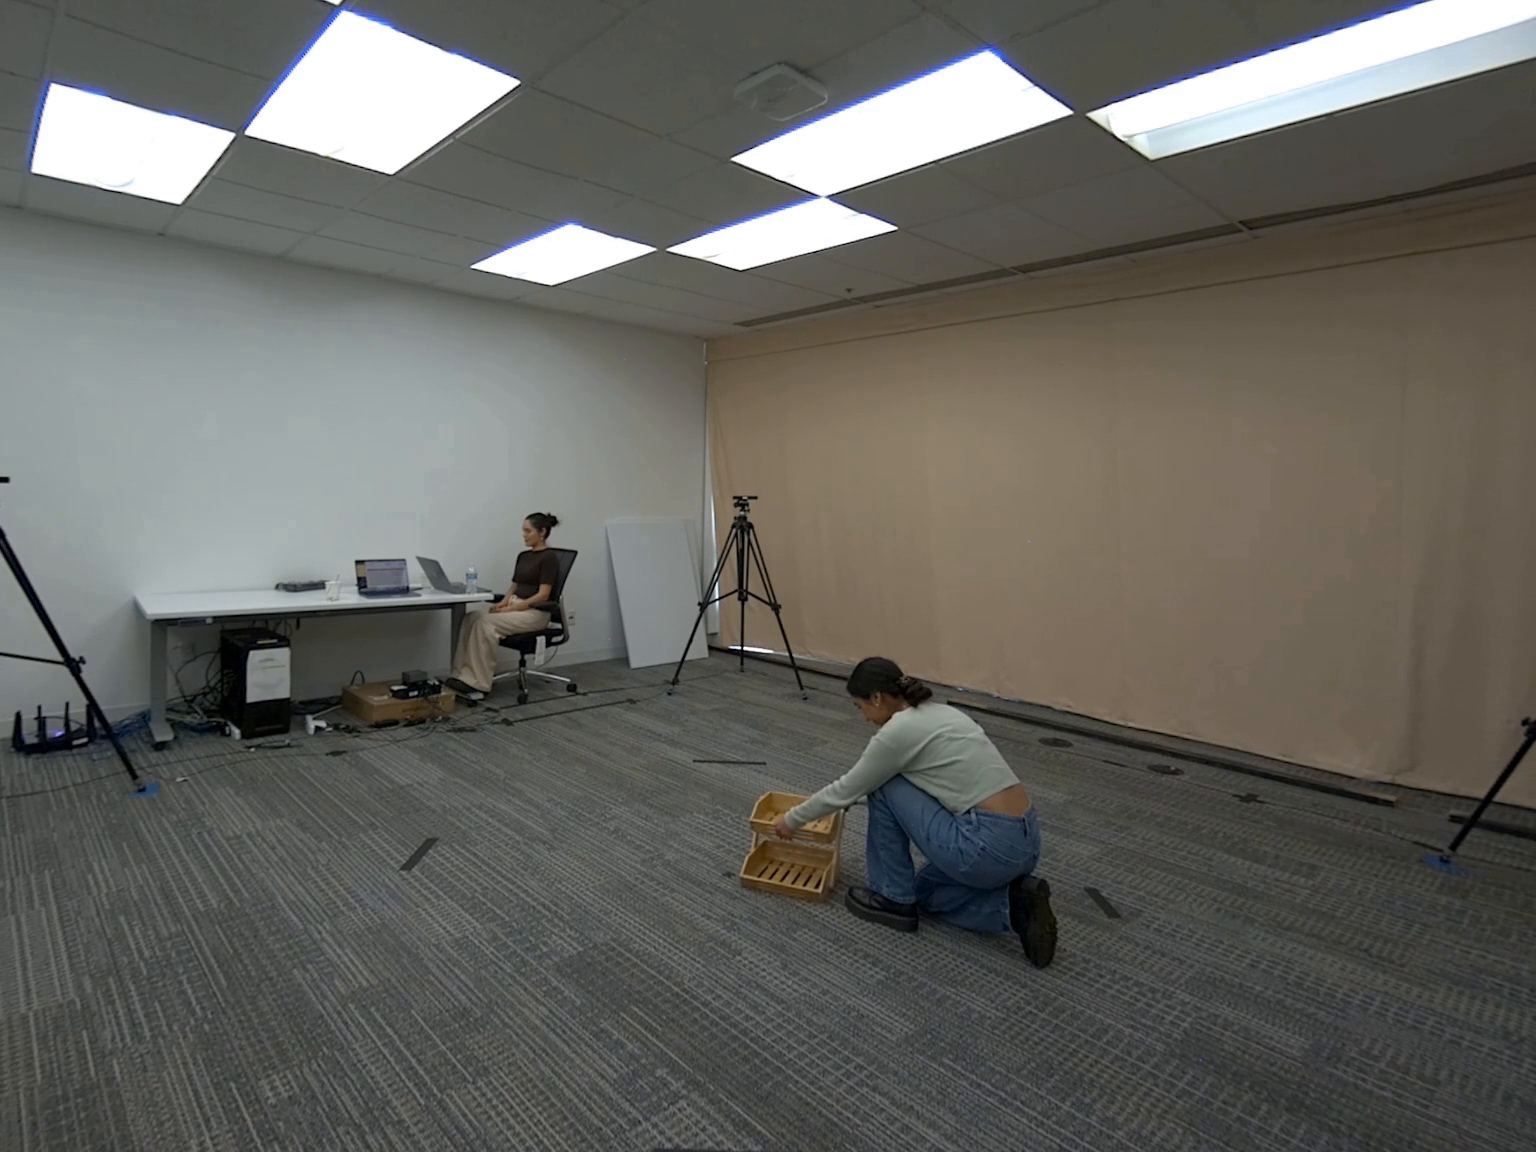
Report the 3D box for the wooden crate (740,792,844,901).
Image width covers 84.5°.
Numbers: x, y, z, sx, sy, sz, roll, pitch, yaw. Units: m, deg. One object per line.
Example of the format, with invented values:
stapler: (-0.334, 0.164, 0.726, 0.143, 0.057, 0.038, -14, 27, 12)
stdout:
wooden crate: (0.089, 0.976, 3.062, 0.330, 0.272, 0.298, 3, 5, 21)
